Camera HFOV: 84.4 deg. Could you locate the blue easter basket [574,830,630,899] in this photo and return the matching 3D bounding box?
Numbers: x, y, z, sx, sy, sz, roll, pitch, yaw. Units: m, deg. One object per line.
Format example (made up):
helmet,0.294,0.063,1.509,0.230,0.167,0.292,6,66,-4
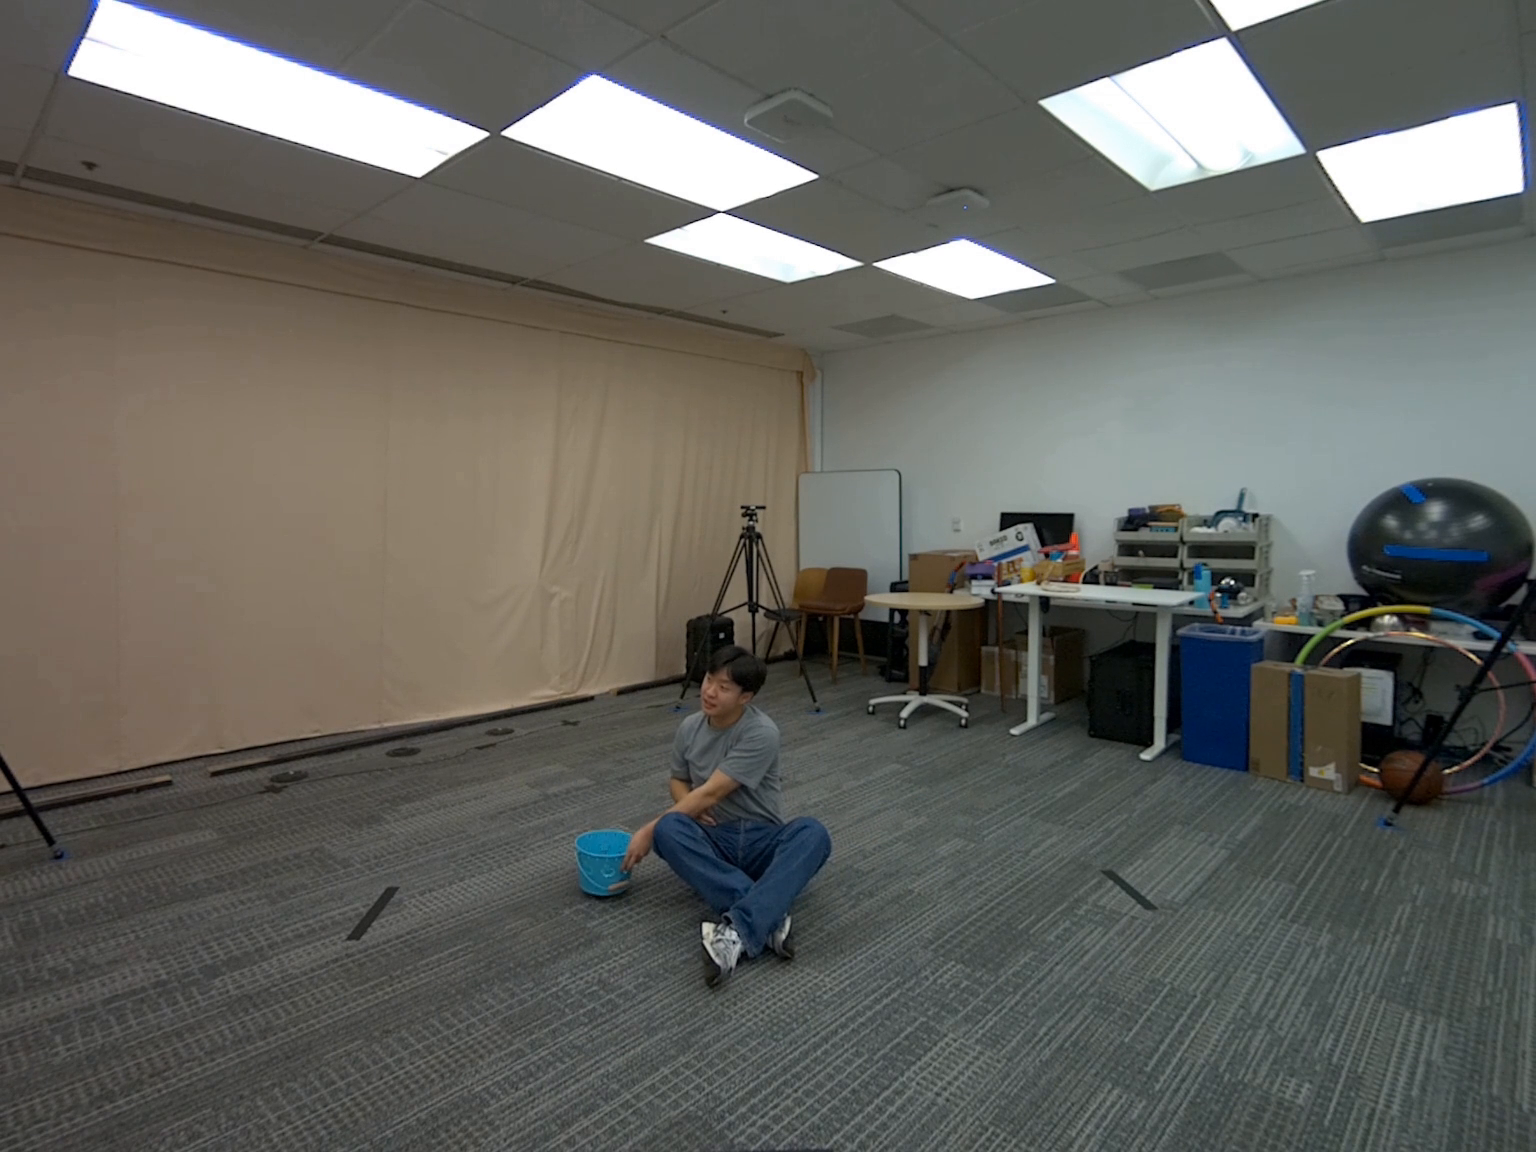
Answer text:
blue easter basket,-0.587,1.042,3.043,0.243,0.155,0.244,3,4,-2
